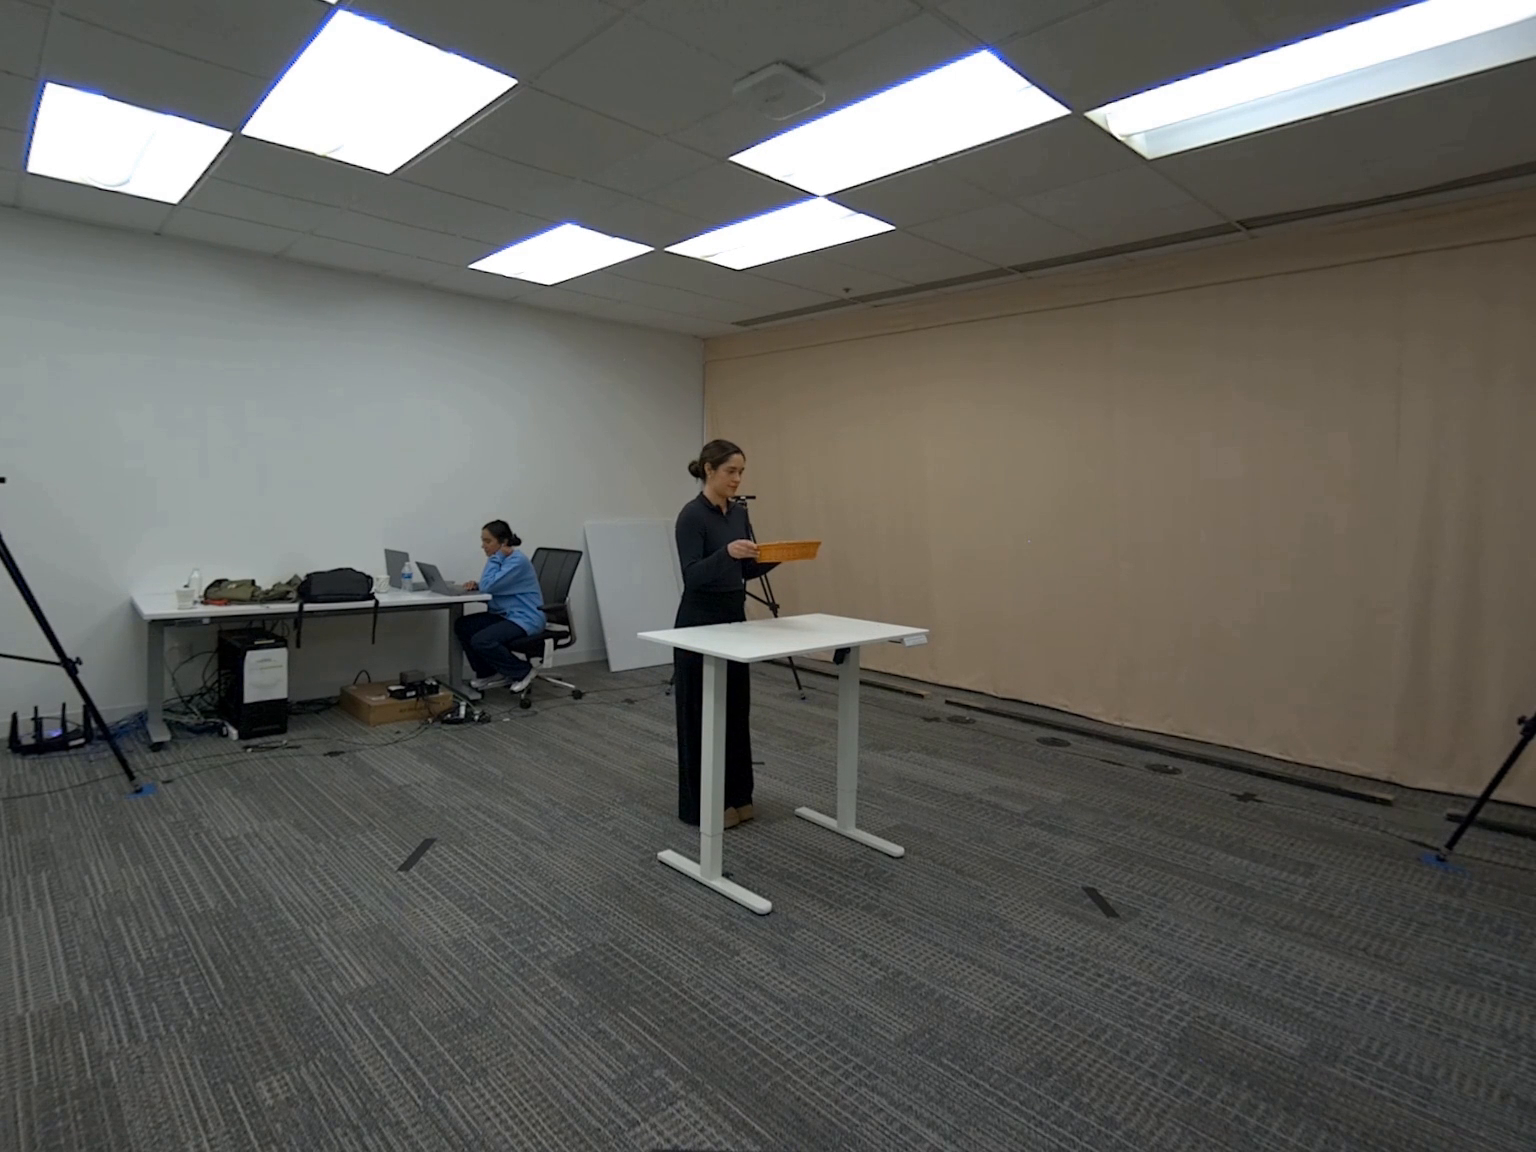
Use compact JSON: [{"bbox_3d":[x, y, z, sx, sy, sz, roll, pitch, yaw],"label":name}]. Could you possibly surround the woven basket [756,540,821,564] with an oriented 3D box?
[{"bbox_3d":[0.041,-0.096,3.365,0.342,0.073,0.258,-4,1,-41],"label":"woven basket"}]
